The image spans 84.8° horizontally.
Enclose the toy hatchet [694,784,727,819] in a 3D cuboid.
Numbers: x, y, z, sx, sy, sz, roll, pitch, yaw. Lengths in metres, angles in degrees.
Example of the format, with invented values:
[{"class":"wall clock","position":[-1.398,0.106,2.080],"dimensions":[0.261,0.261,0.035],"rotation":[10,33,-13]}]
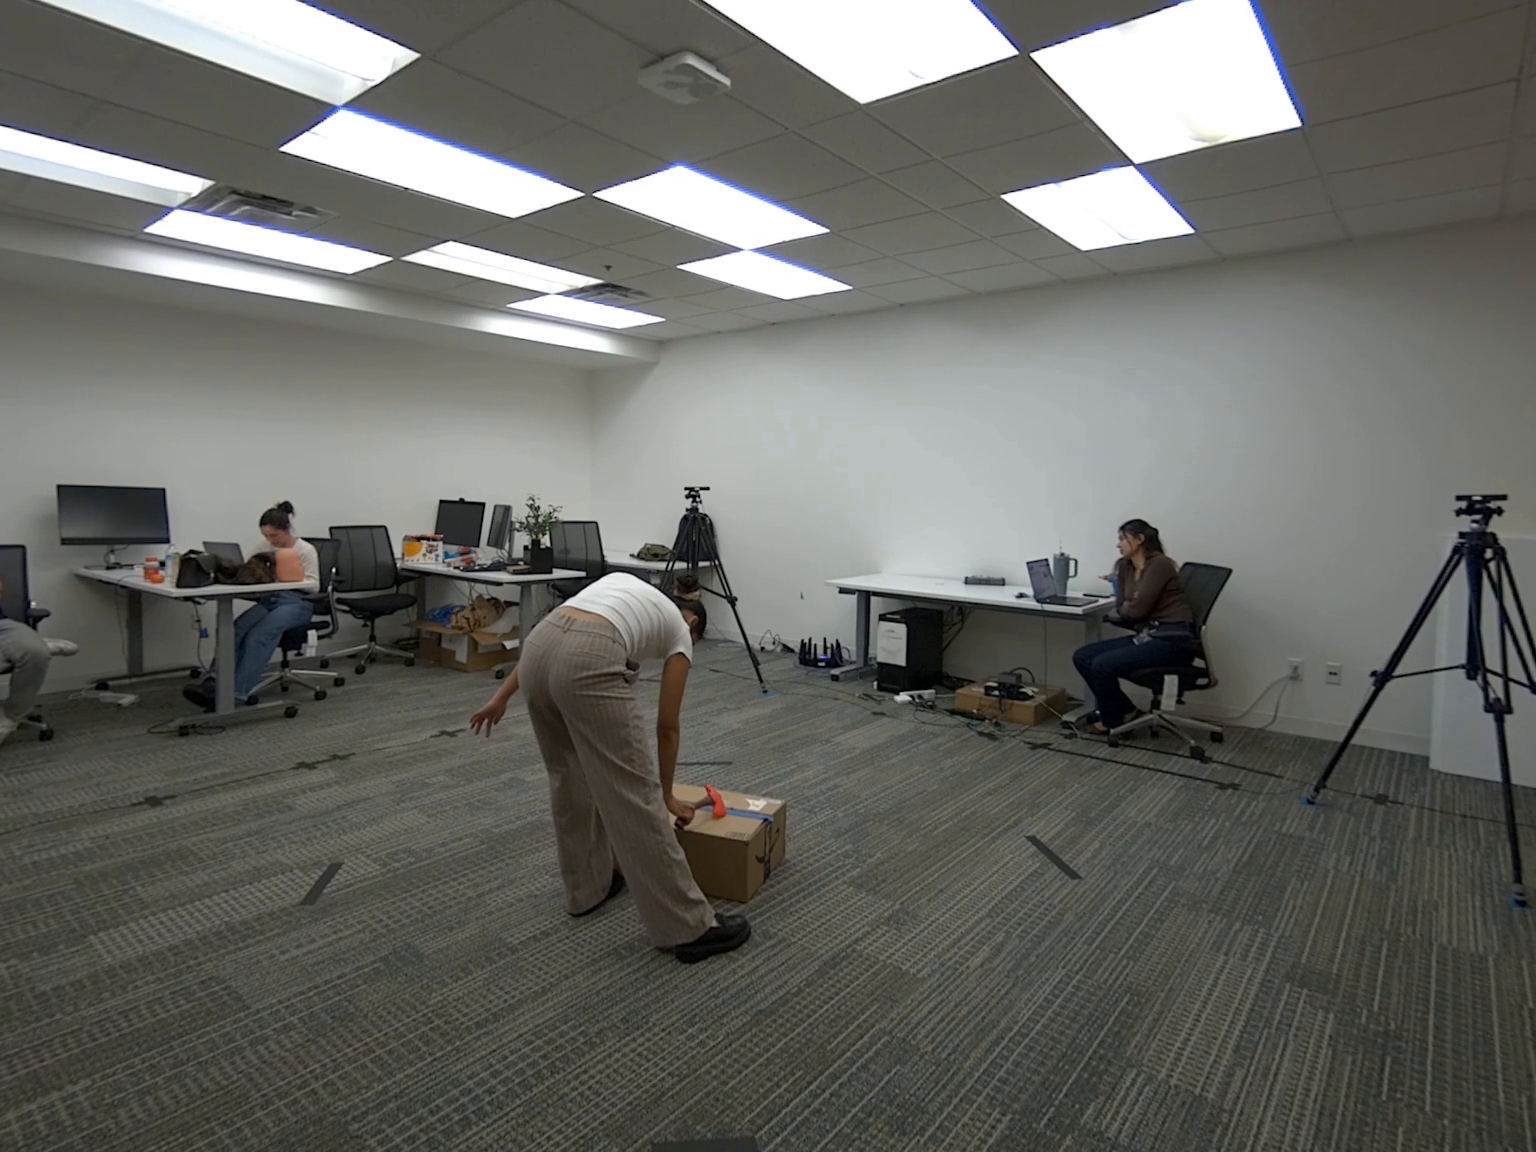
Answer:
[{"class":"toy hatchet","position":[-0.238,0.835,2.958],"dimensions":[0.132,0.029,0.268],"rotation":[42,28,6]}]
